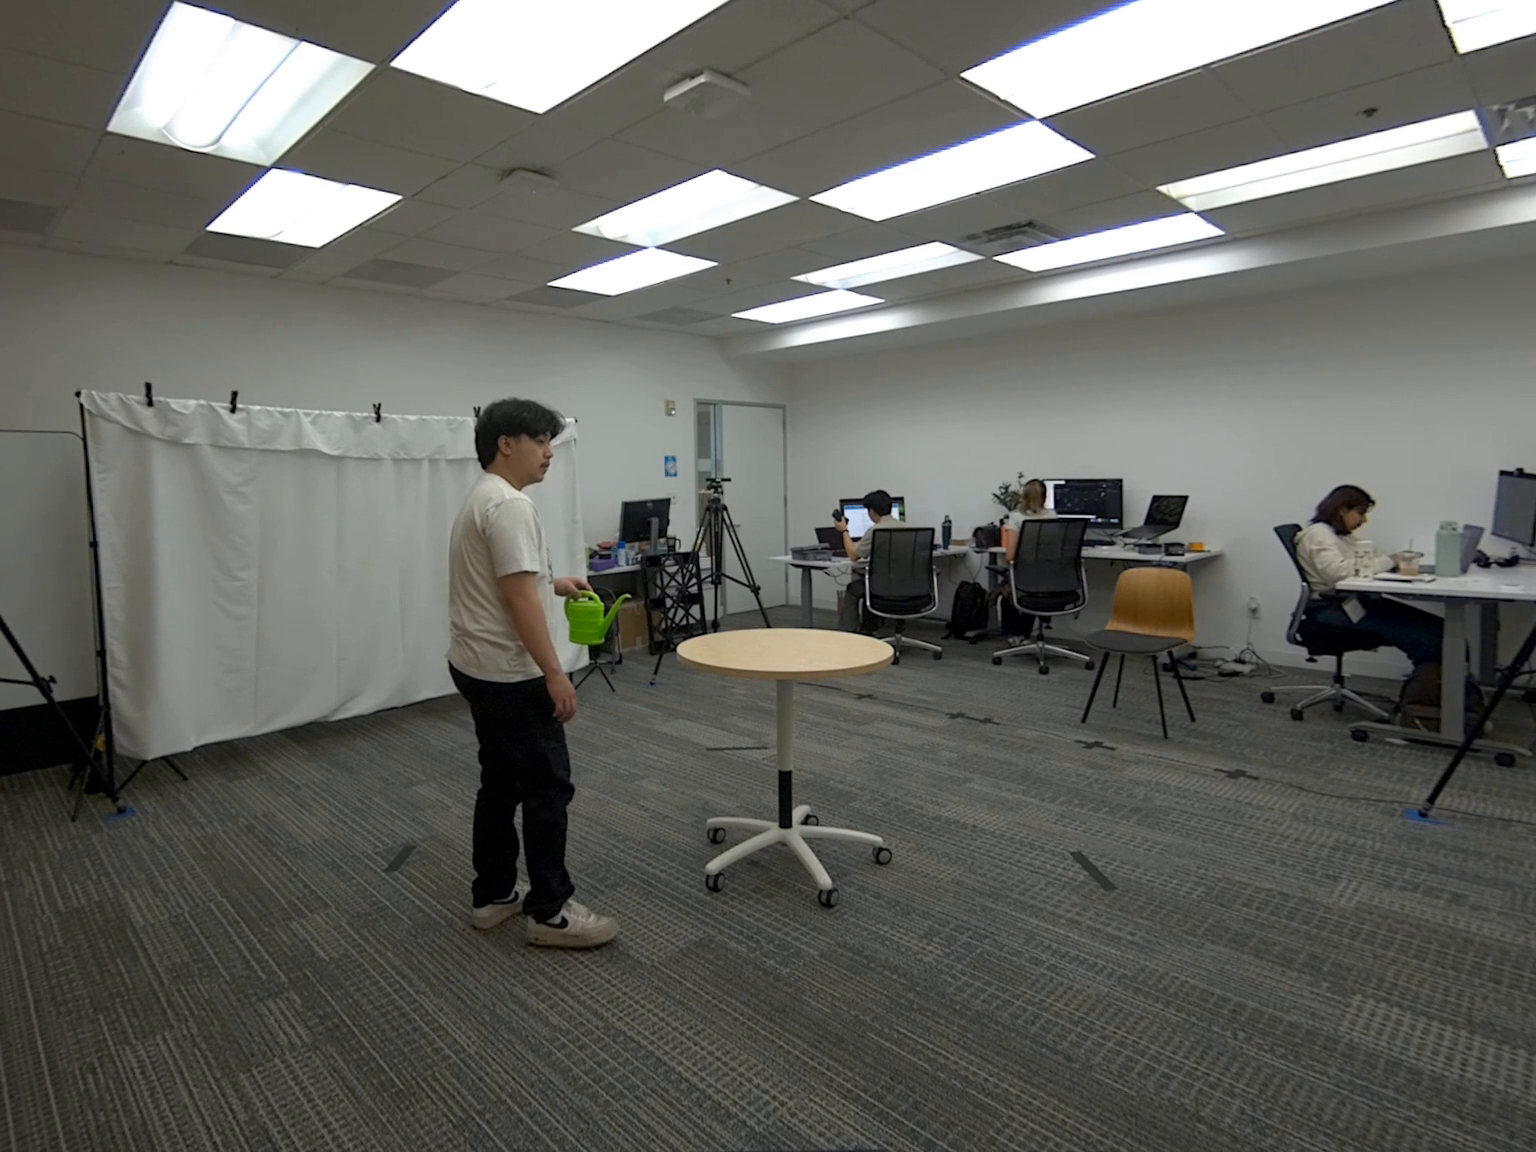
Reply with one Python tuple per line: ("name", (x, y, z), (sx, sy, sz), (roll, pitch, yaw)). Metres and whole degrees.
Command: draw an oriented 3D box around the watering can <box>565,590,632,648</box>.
("watering can", (-0.575, 0.142, 2.853), (0.287, 0.176, 0.095), (3, 4, 42))
